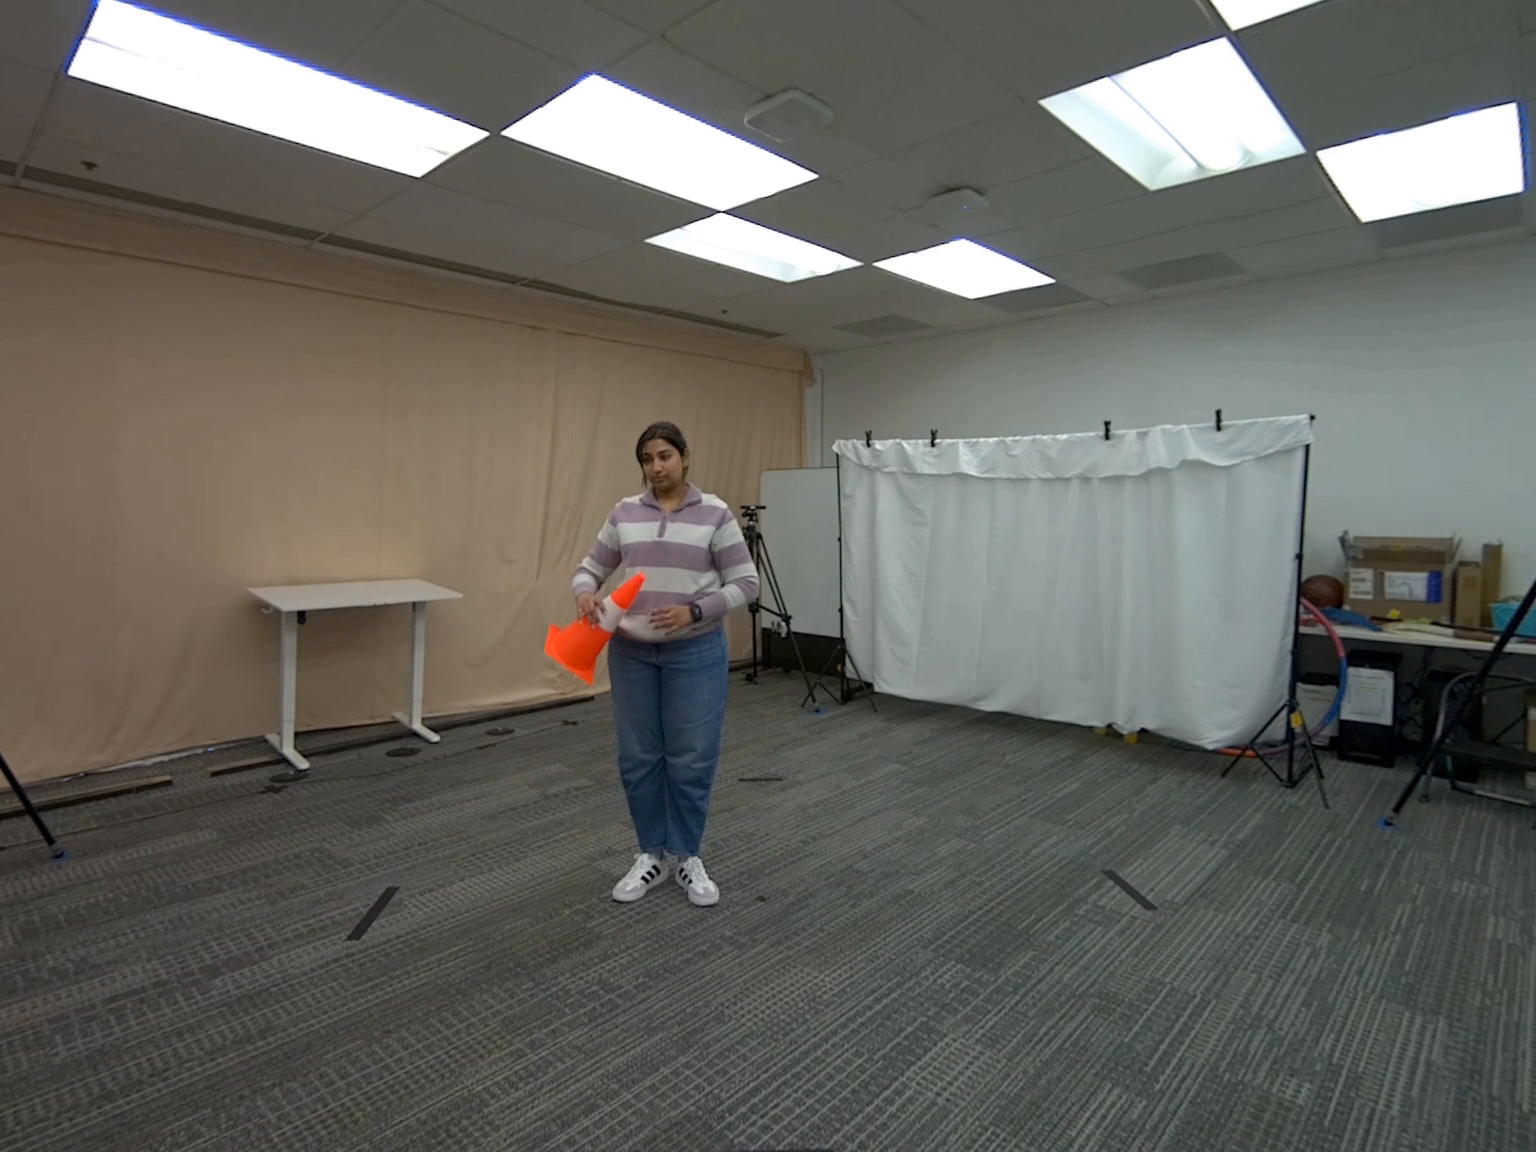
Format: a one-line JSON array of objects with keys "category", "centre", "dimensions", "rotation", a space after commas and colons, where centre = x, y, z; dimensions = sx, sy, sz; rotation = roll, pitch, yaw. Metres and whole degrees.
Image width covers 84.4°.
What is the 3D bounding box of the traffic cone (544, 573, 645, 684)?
[{"category": "traffic cone", "centre": [-0.536, 0.135, 2.774], "dimensions": [0.199, 0.385, 0.208], "rotation": [37, 19, -25]}]
